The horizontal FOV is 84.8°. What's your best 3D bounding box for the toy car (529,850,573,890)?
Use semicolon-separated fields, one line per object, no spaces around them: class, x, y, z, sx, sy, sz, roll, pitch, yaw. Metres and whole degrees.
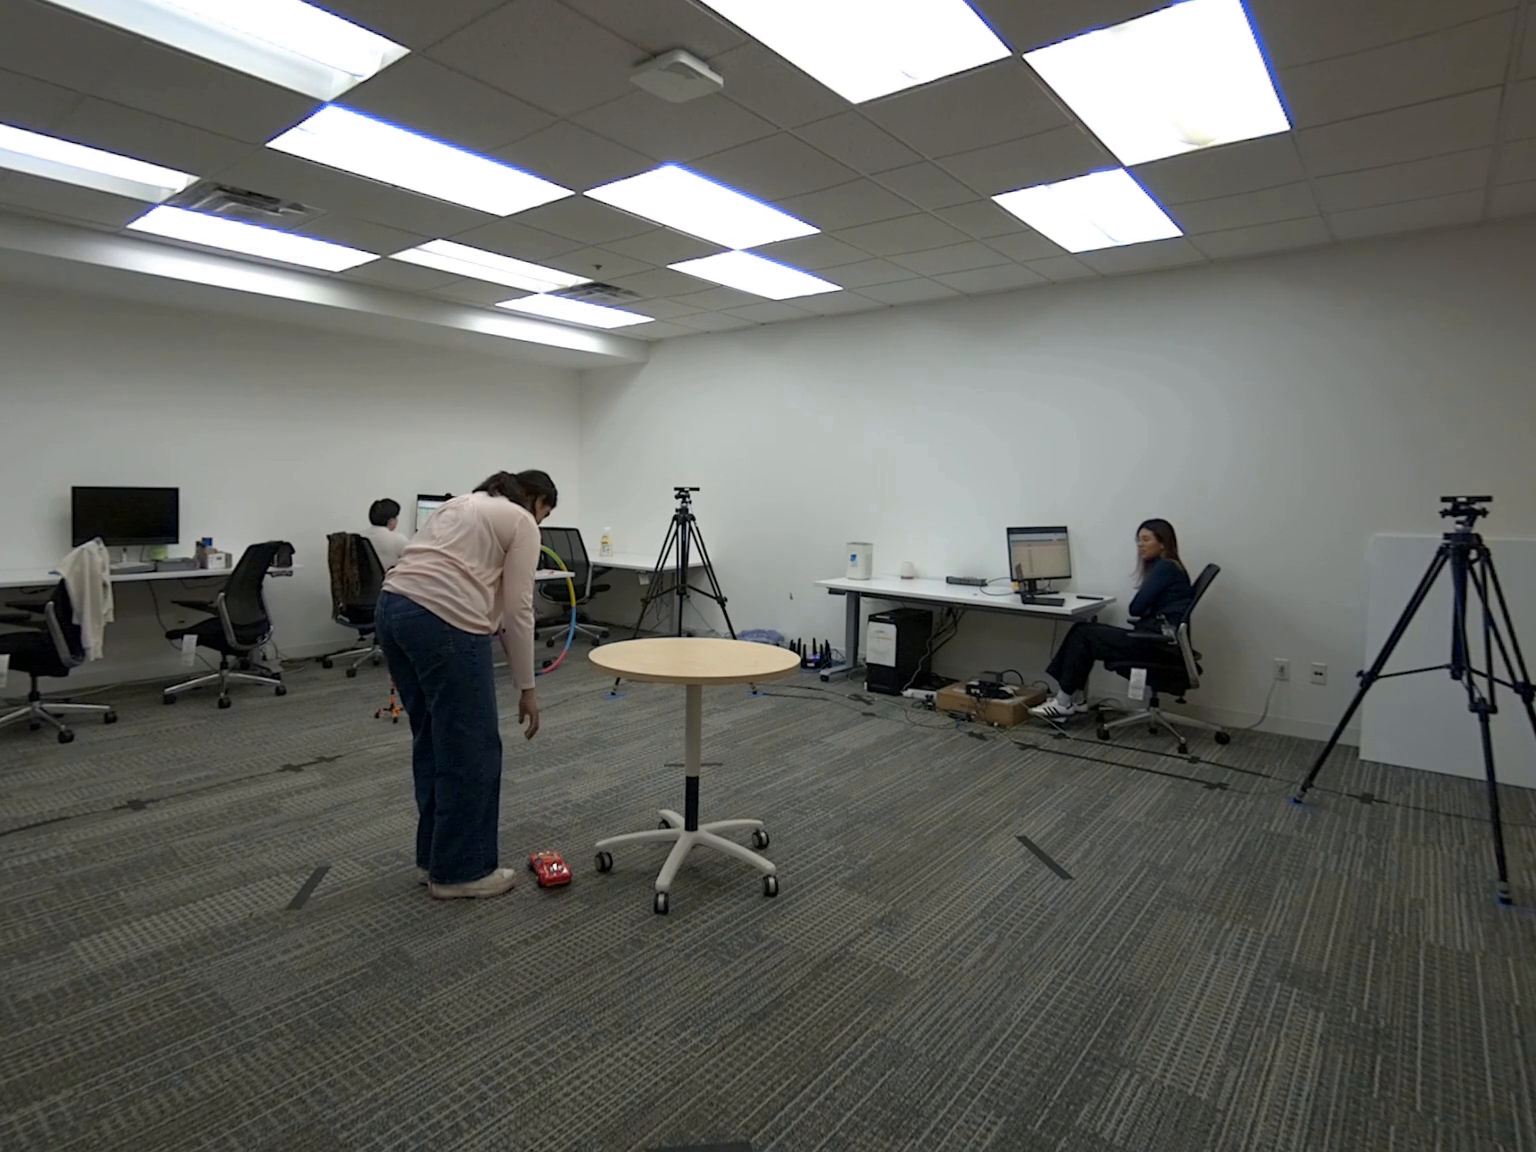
toy car;-0.787;1.042;3.003;0.127;0.084;0.259;-2;-4;-26
